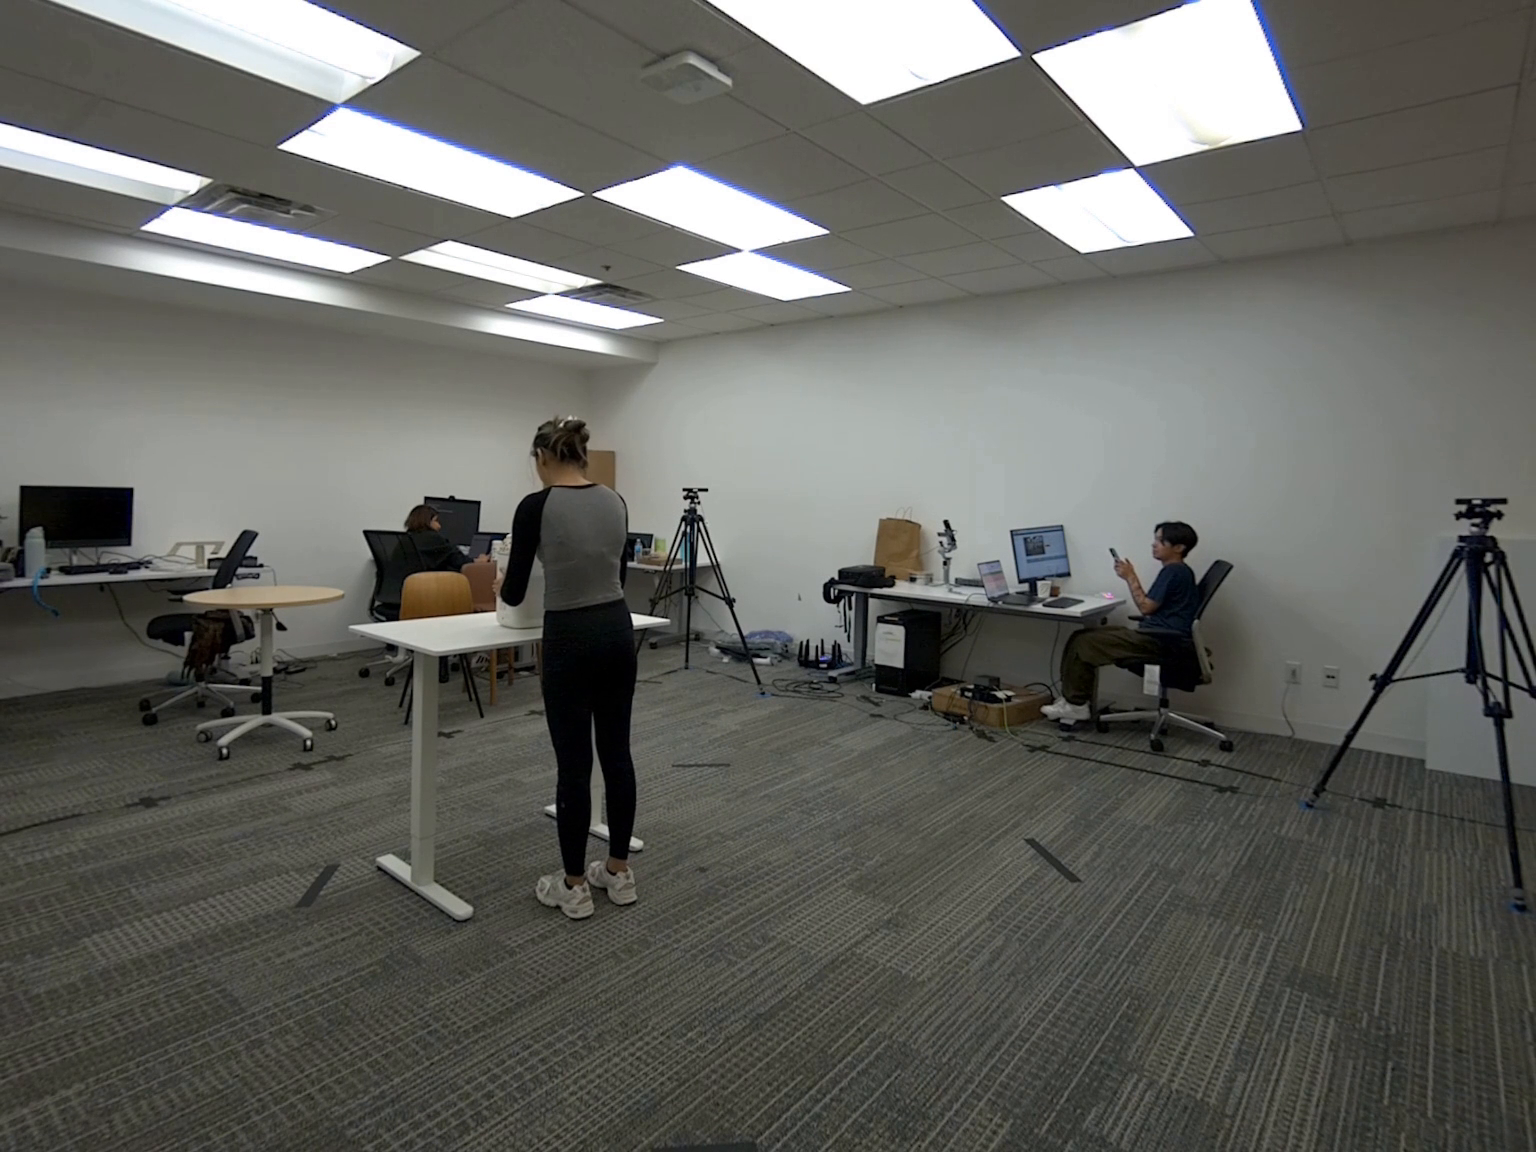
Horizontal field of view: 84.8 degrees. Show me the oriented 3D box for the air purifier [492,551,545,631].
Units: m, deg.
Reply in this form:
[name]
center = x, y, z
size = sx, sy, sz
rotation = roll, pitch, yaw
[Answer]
[air purifier]
center = -0.888, 0.047, 3.082
size = 0.177, 0.264, 0.166
rotation = 6, 5, 43
